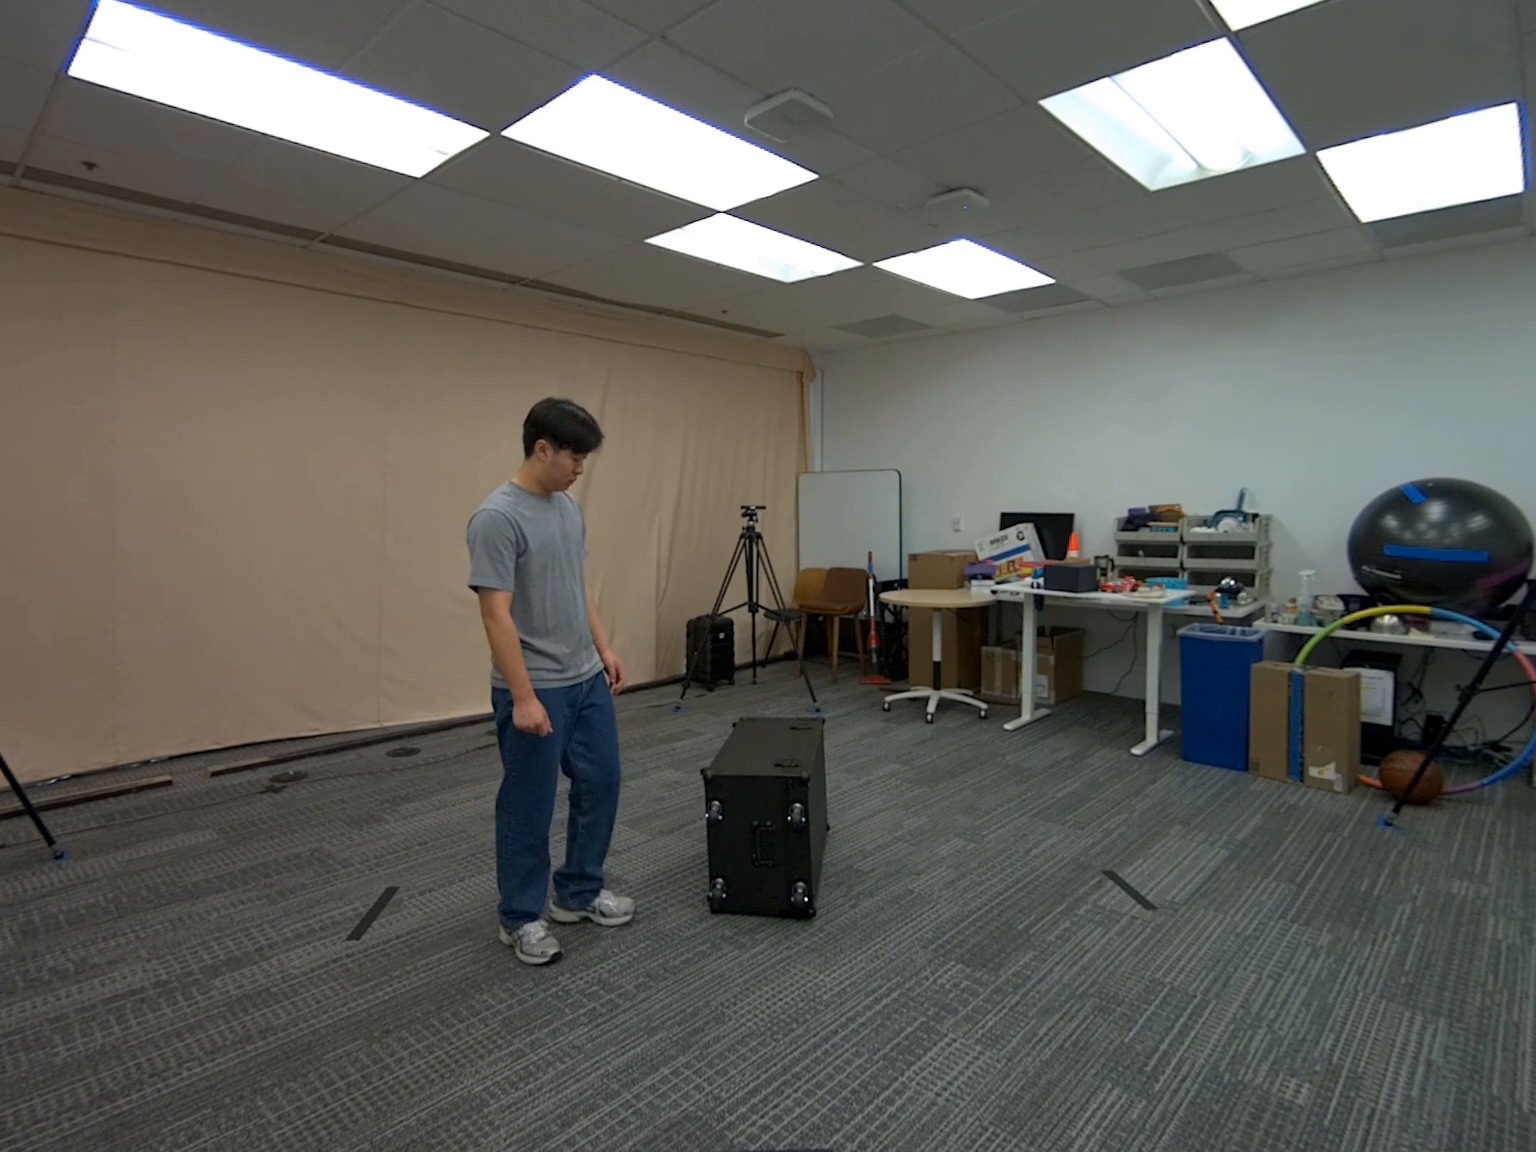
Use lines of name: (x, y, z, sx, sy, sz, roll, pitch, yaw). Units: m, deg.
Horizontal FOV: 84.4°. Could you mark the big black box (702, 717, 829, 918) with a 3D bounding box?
big black box: (0.015, 0.871, 3.240, 0.401, 0.520, 0.854, -1, 4, 9)
